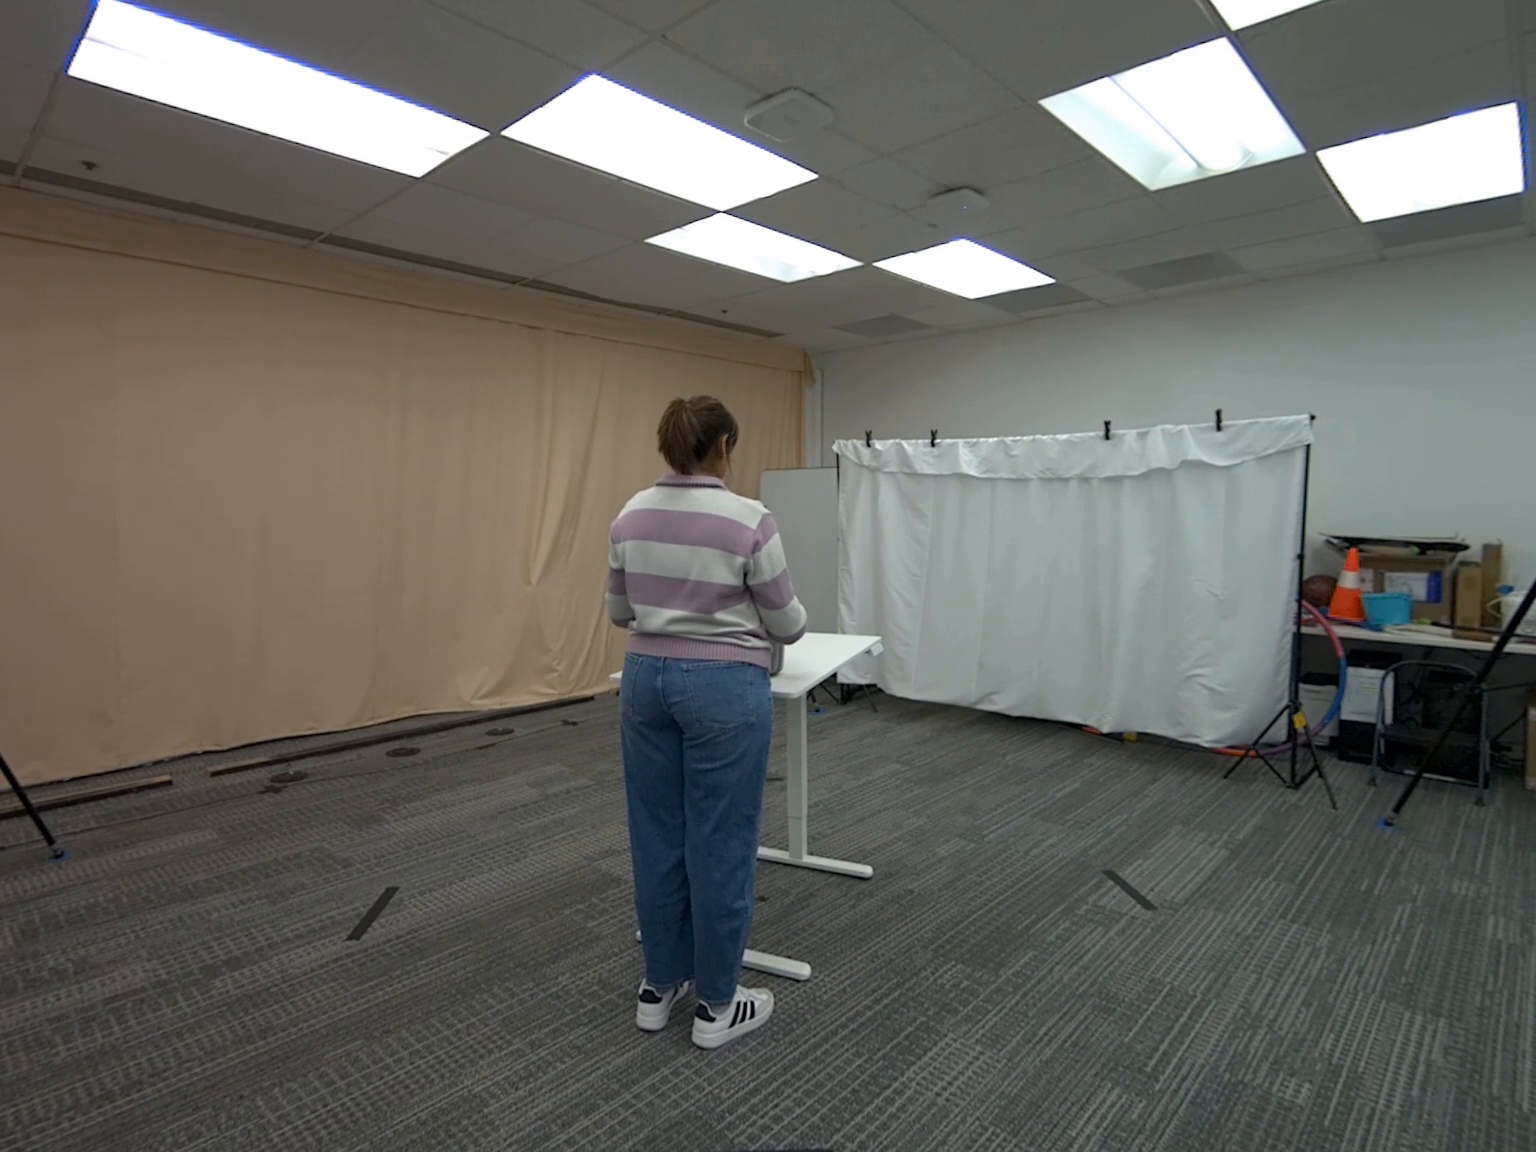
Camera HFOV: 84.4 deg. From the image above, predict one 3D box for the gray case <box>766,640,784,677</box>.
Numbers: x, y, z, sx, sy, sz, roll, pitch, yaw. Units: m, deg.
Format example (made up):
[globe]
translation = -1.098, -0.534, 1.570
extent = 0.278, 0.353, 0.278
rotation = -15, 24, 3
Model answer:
[gray case]
translation = -0.076, 0.171, 2.584
extent = 0.261, 0.261, 0.102
rotation = -1, -6, 16
